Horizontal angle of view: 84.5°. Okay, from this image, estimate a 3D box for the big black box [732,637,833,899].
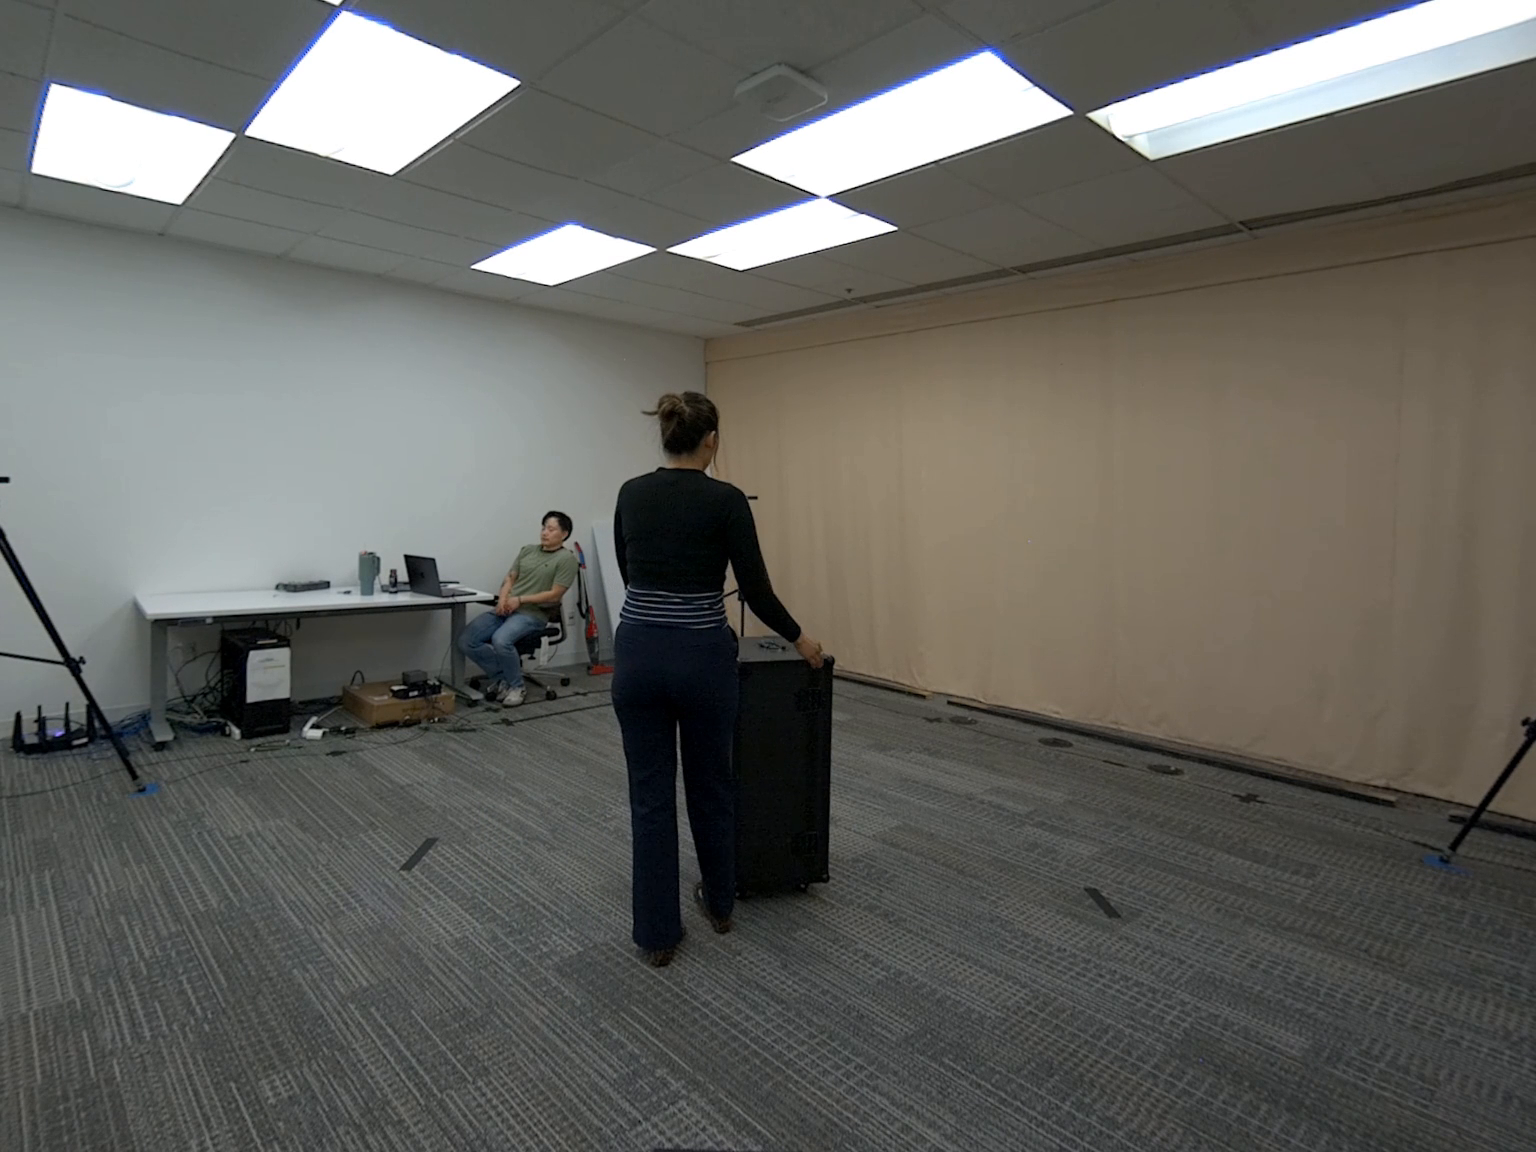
[{"bbox_3d":[-0.028,0.622,3.072,0.391,0.859,0.529,0,5,-16],"label":"big black box"}]
